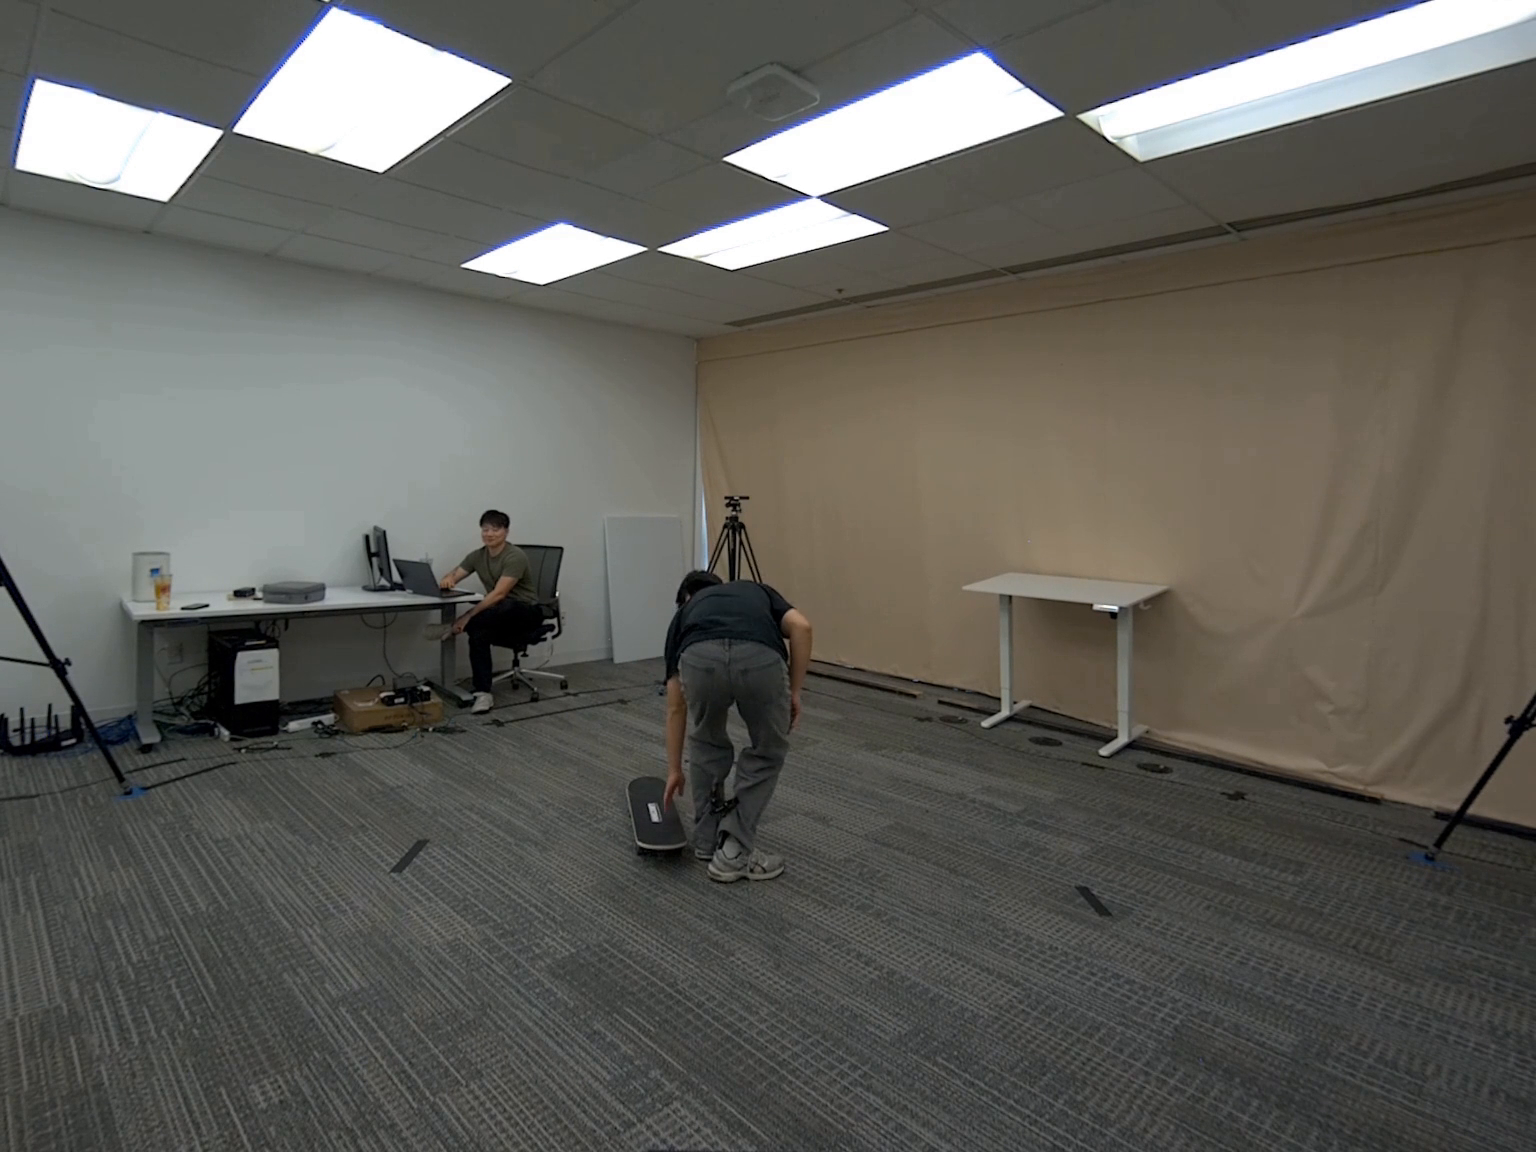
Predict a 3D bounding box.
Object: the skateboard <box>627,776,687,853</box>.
[{"bbox_3d":[-0.484,1.010,3.478,0.192,0.110,0.794,1,5,-12],"label":"skateboard"}]
